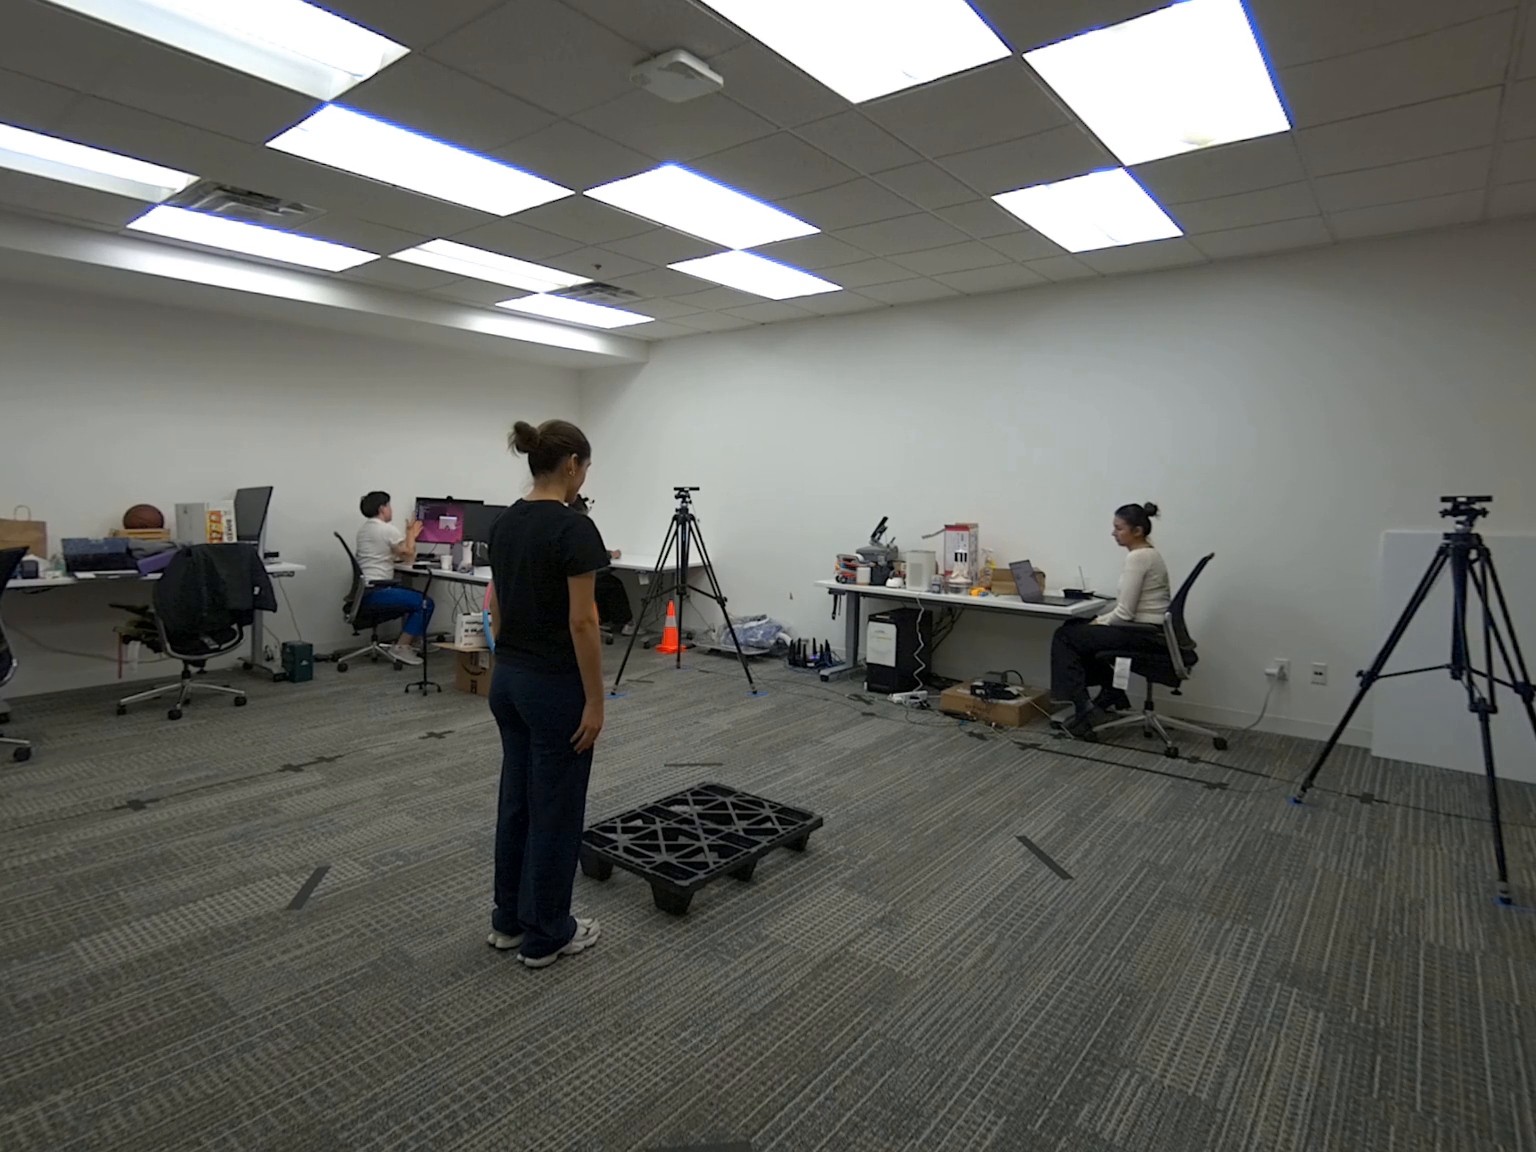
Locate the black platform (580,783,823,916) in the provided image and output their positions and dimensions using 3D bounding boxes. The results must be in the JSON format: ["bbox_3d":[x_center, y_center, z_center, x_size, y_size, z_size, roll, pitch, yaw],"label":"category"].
[{"bbox_3d":[-0.249,0.994,3.186,0.625,0.143,0.782,4,6,39],"label":"black platform"}]
